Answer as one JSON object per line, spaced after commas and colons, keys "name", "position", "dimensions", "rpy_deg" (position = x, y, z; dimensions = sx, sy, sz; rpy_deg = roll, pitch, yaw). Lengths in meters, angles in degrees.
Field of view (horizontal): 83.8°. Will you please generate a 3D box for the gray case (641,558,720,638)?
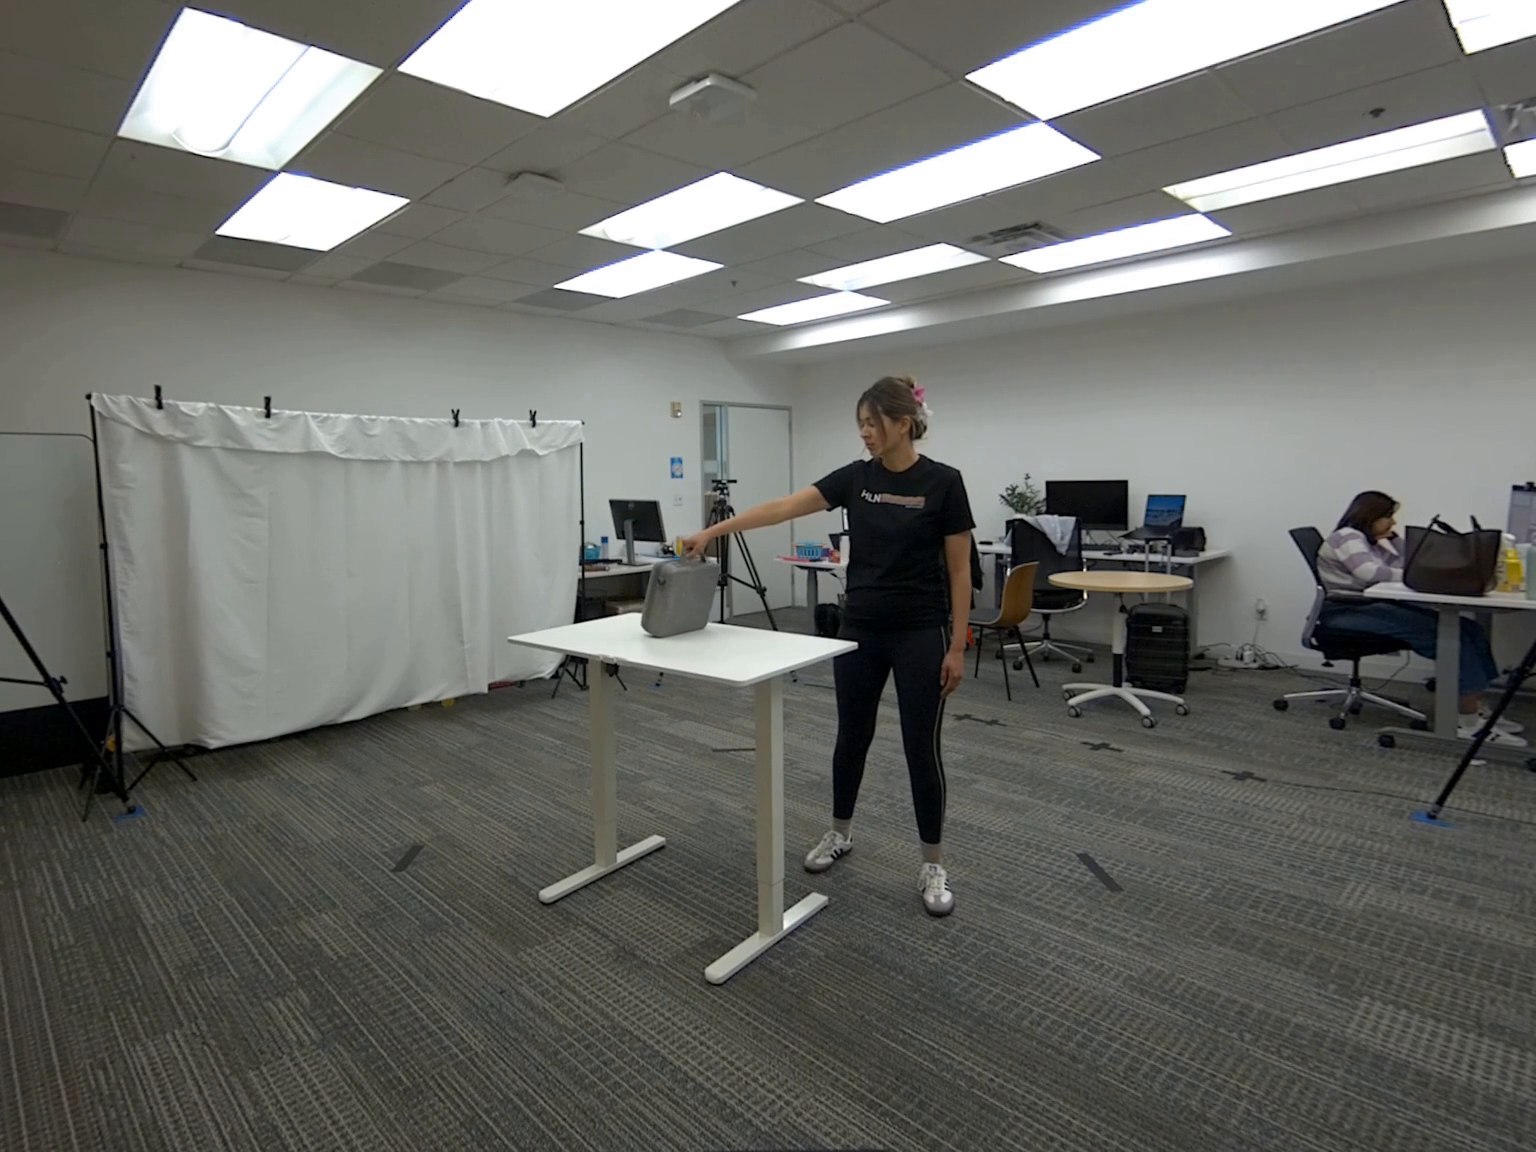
{"name": "gray case", "position": [-0.288, 0.062, 2.879], "dimensions": [0.108, 0.258, 0.250], "rpy_deg": [23, 20, 35]}
